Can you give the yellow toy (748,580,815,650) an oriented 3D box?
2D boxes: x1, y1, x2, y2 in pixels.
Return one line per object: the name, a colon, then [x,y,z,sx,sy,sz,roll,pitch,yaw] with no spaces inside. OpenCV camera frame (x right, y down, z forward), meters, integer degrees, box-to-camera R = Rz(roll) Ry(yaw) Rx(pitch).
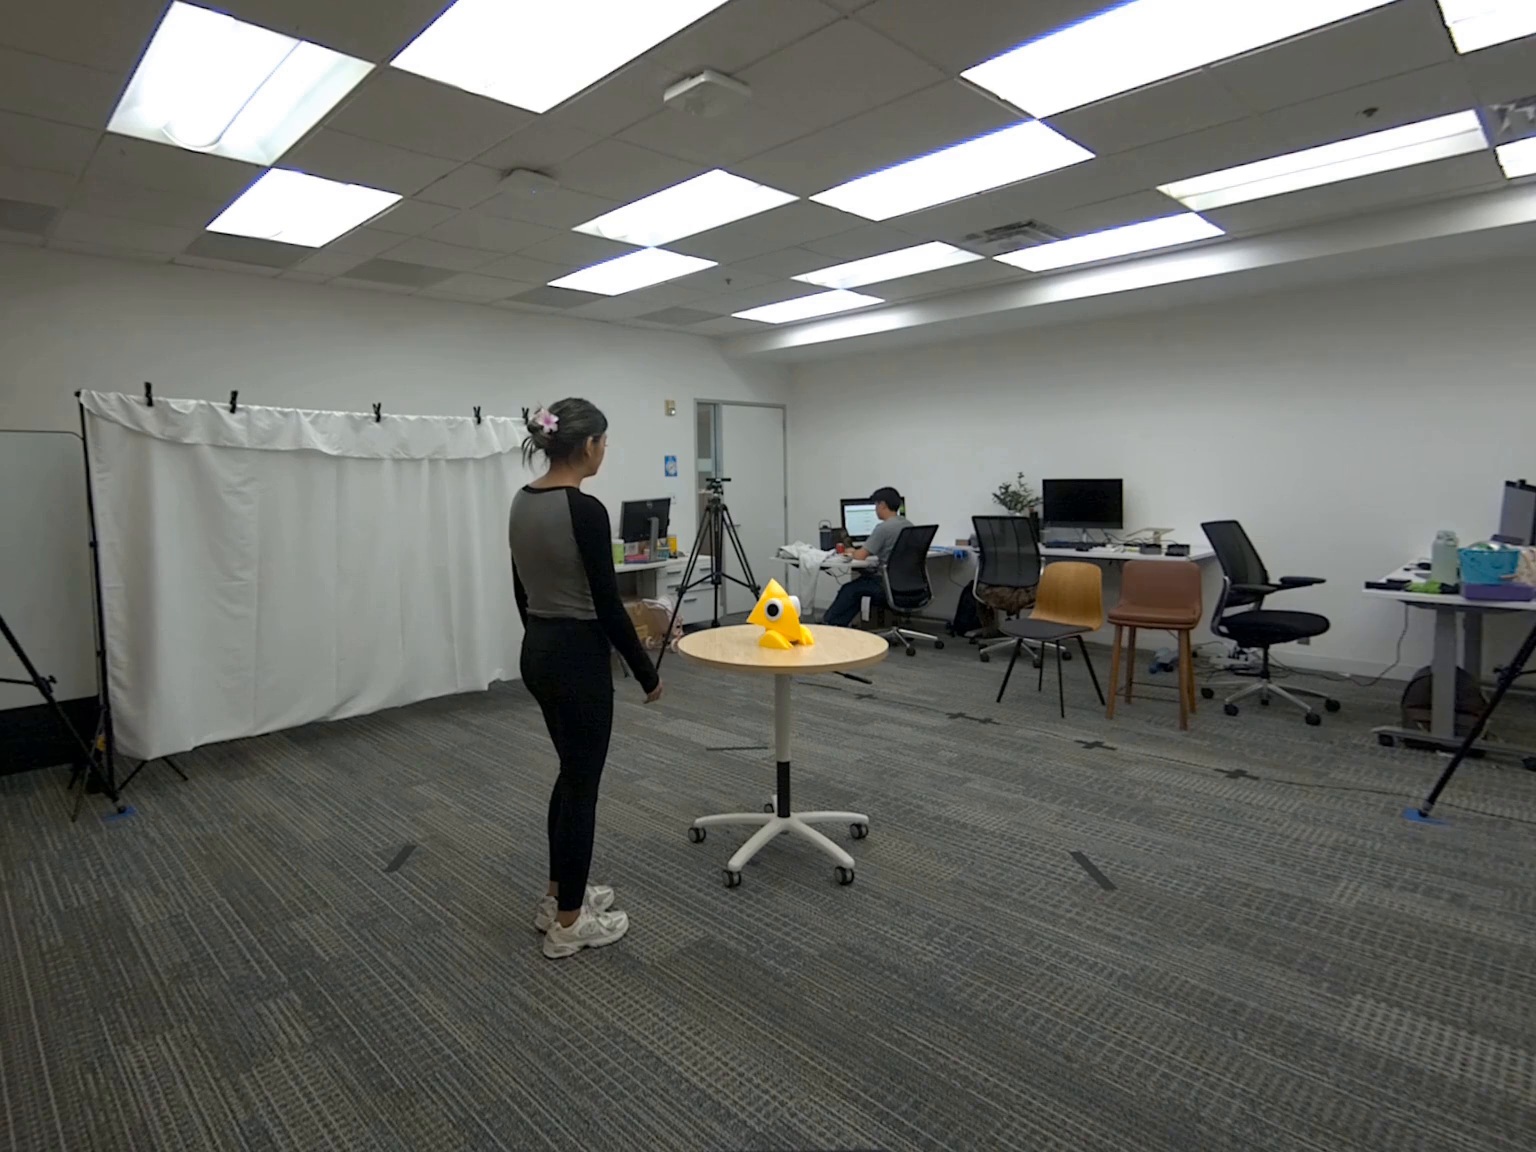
yellow toy: [0.062,0.131,3.117,0.199,0.230,0.199,-5,7,-40]
